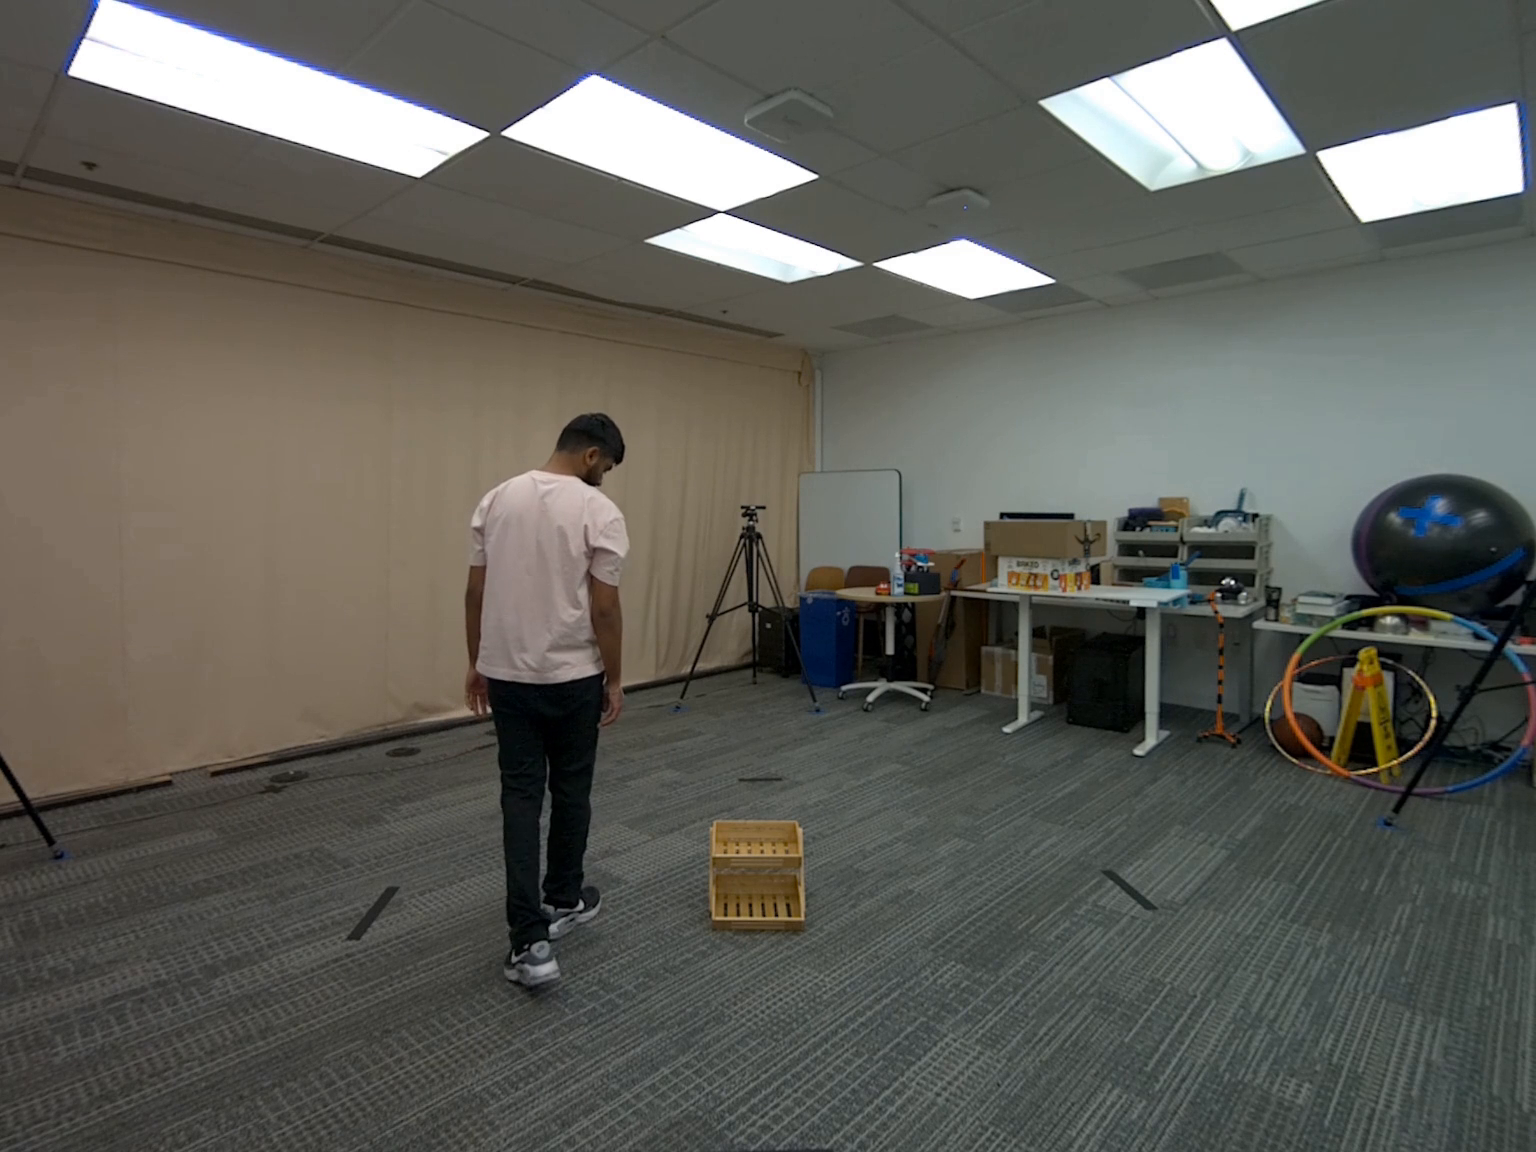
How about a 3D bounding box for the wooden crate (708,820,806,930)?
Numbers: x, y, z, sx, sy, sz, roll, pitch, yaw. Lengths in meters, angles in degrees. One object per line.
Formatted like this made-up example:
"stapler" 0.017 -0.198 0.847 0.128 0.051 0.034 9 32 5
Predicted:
"wooden crate" -0.032 1.022 2.876 0.324 0.272 0.303 -1 4 -2
